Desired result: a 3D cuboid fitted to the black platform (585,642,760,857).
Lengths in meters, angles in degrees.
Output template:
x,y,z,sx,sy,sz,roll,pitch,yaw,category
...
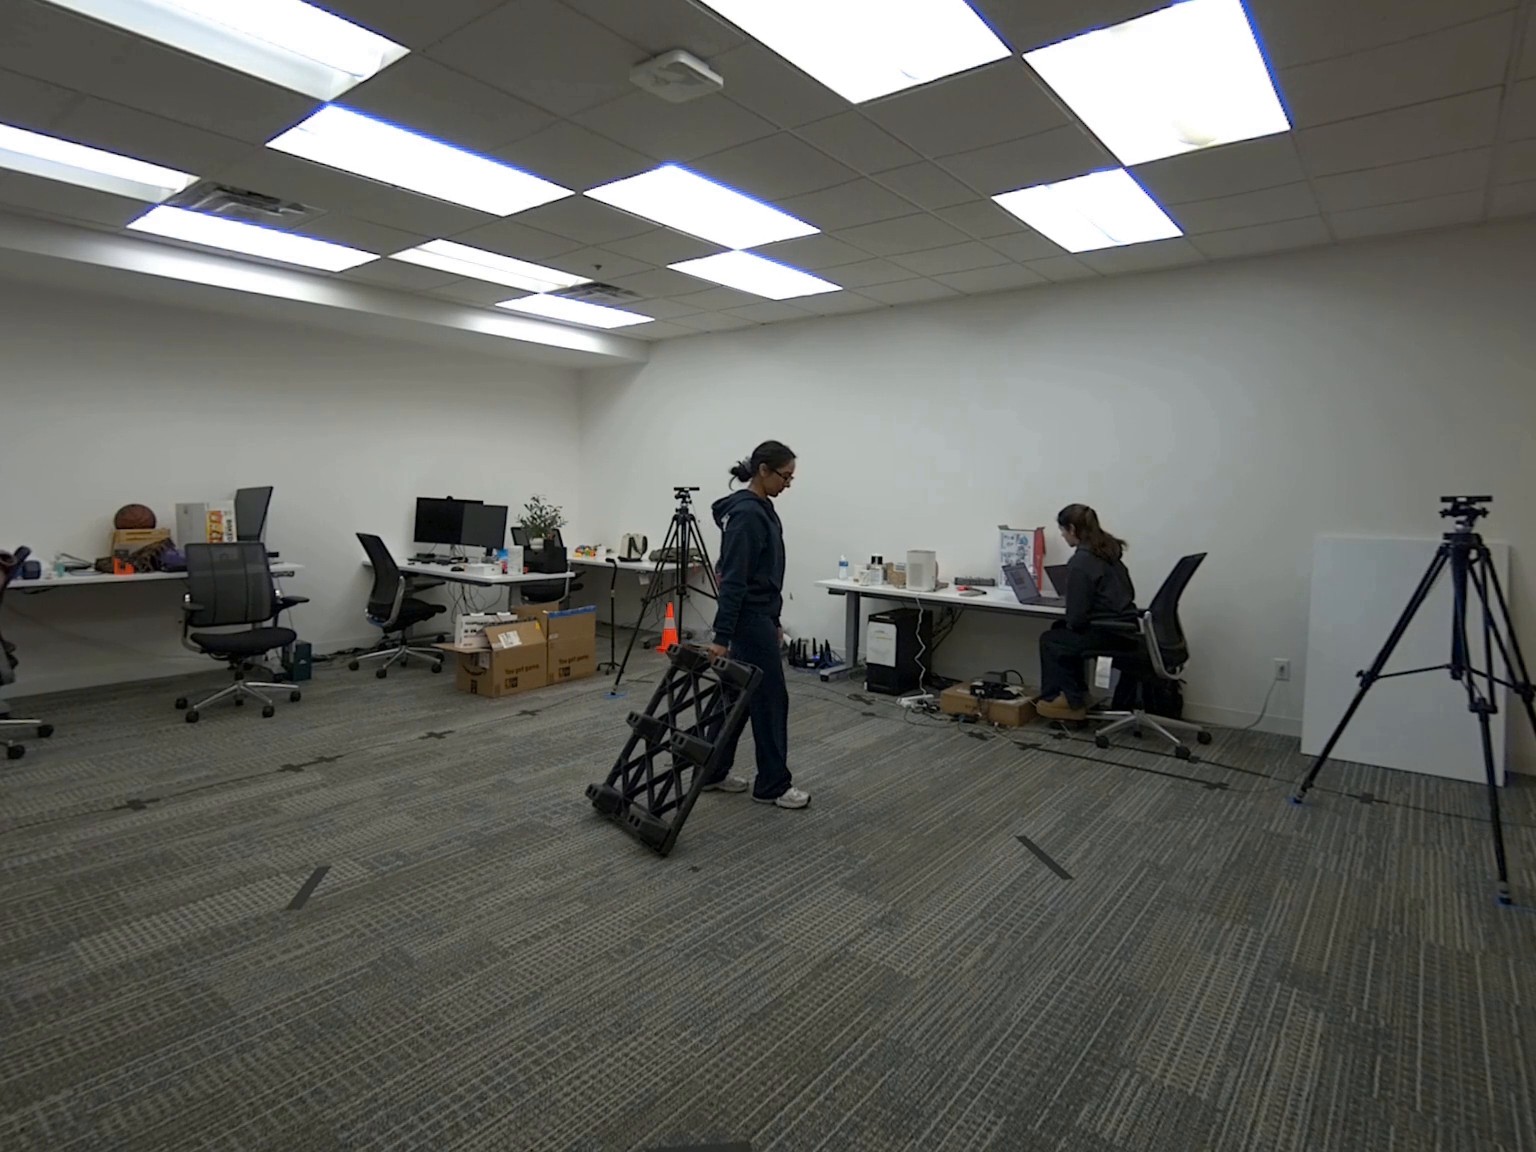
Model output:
x,y,z,sx,sy,sz,roll,pitch,yaw,category
-0.423,0.660,3.505,0.138,0.809,0.625,38,-18,-32,black platform
